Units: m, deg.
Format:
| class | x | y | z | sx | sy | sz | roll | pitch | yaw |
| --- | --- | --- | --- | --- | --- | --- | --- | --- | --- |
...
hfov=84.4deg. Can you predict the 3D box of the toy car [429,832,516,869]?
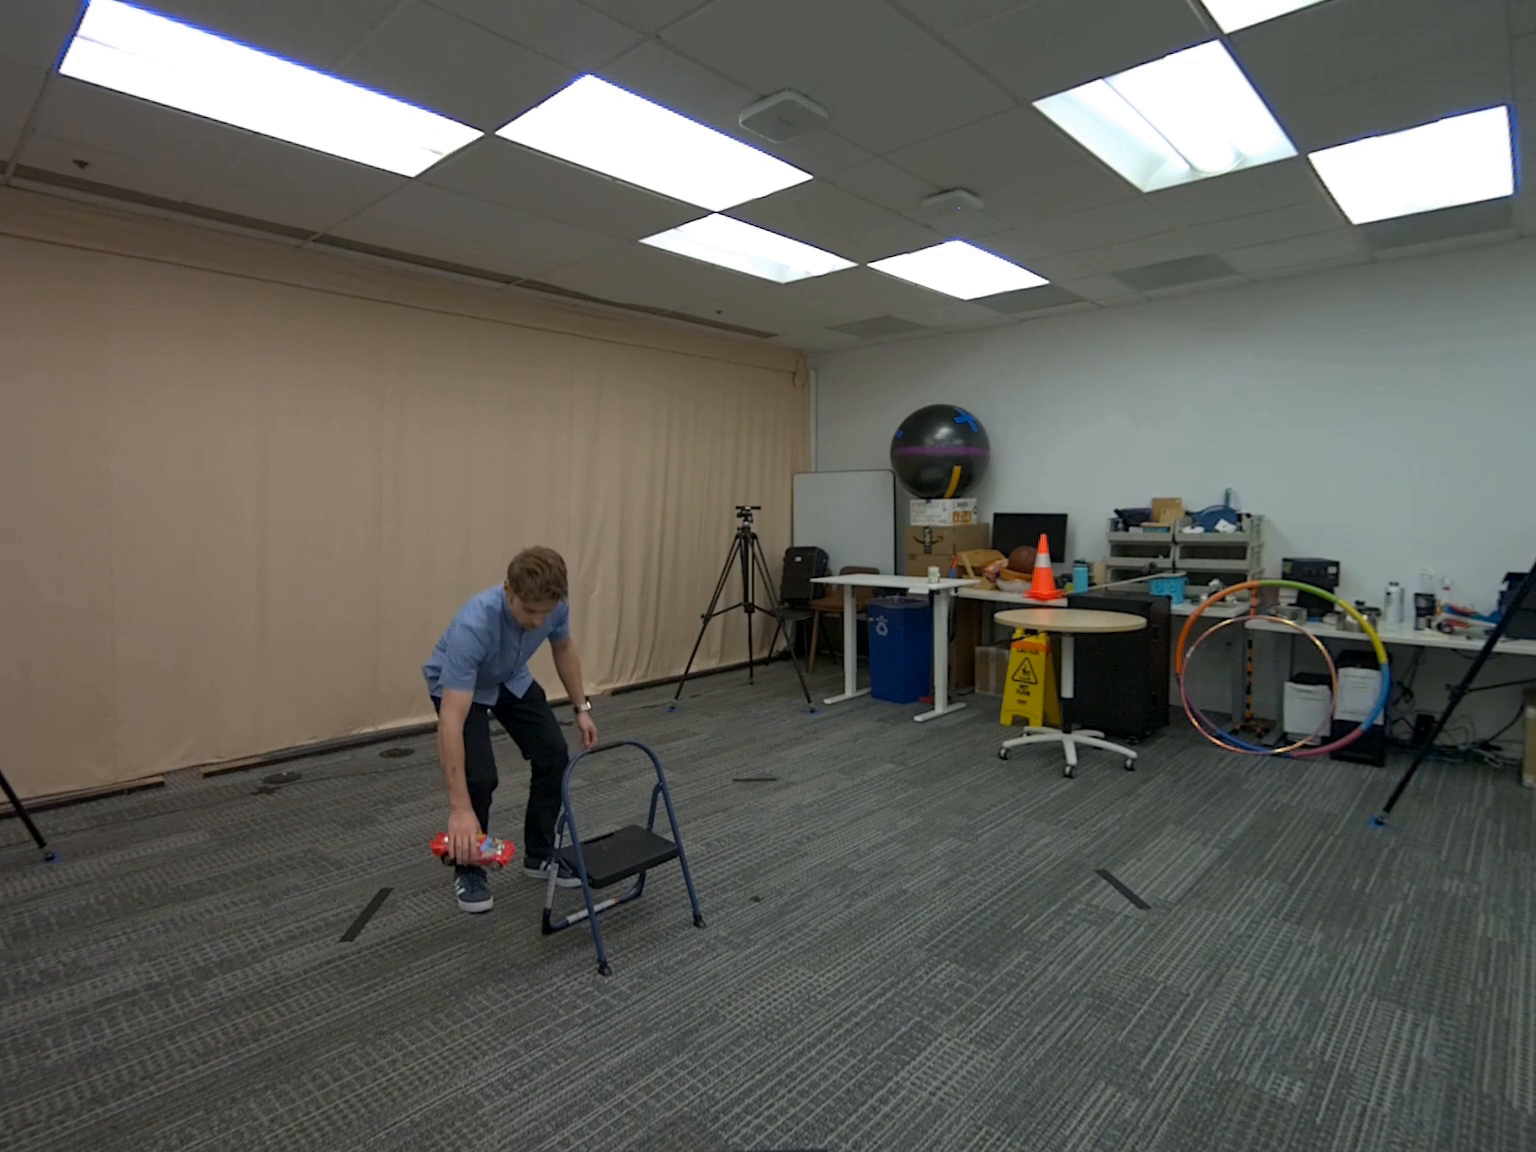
| class | x | y | z | sx | sy | sz | roll | pitch | yaw |
| --- | --- | --- | --- | --- | --- | --- | --- | --- | --- |
| toy car | -0.903 | 0.829 | 2.592 | 0.256 | 0.082 | 0.130 | 14 | 18 | 5 |
